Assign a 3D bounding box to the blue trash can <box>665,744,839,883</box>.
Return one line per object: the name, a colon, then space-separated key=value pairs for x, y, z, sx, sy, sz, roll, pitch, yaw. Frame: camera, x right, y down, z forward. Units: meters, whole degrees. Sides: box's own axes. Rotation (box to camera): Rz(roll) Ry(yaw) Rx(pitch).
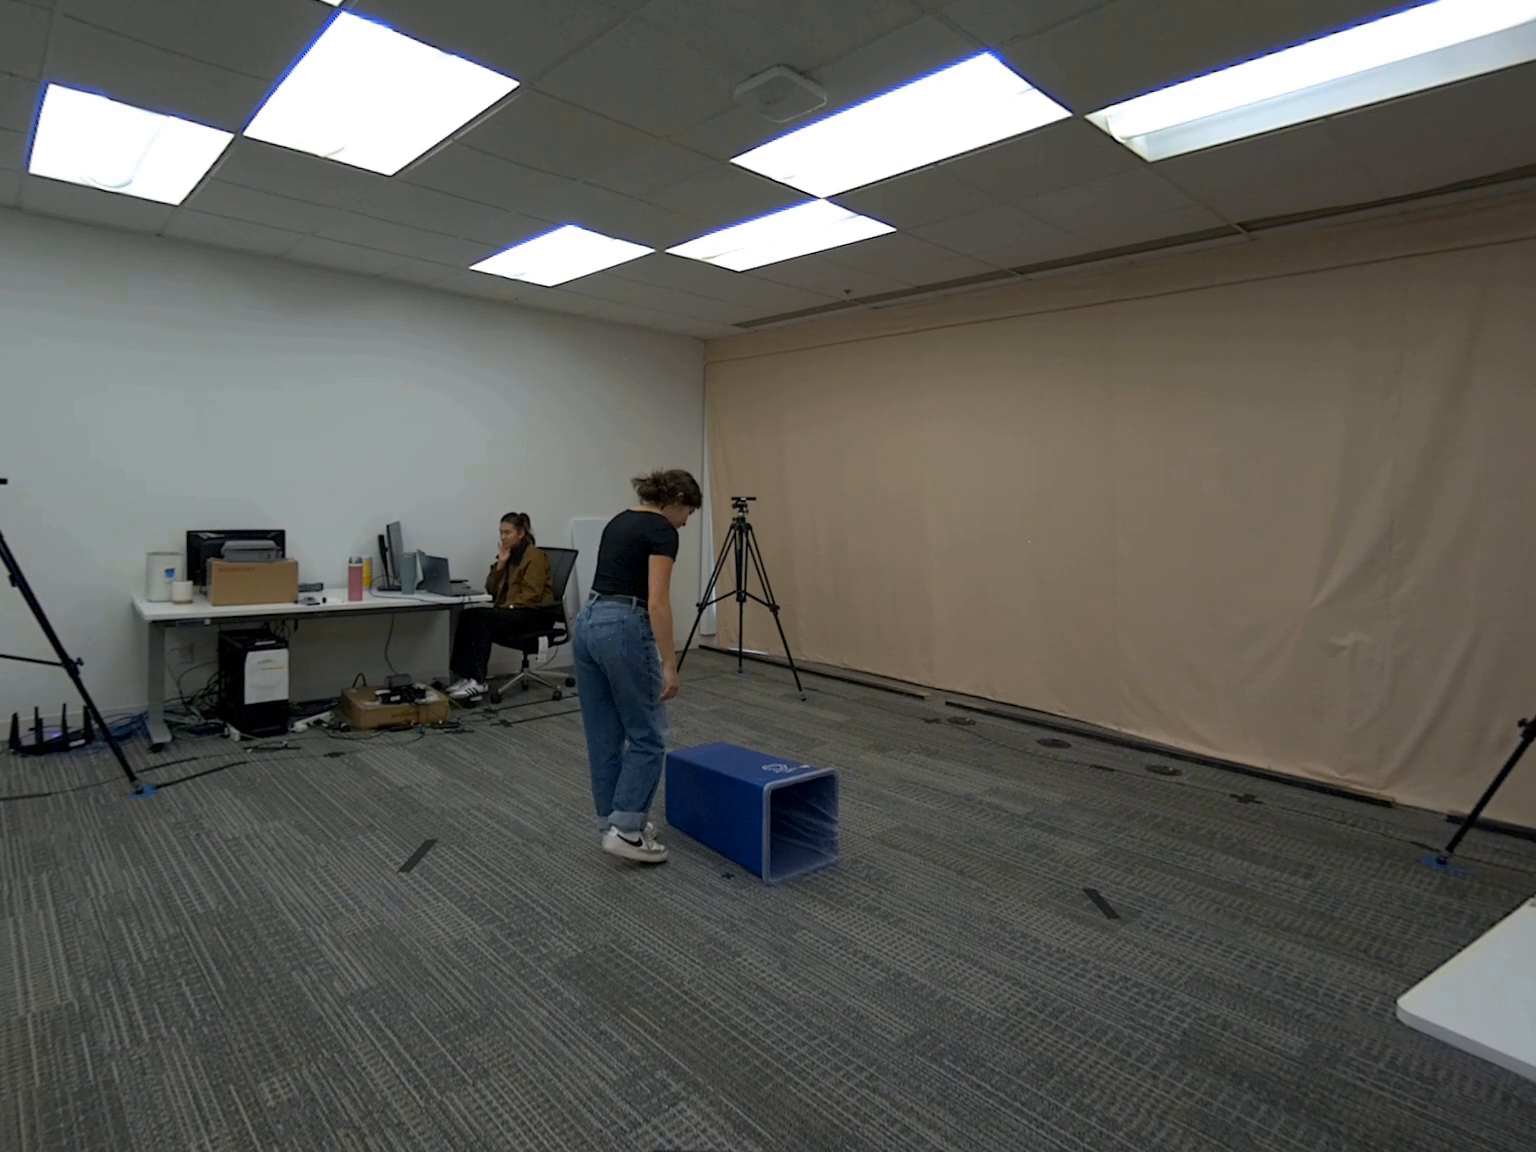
blue trash can: x=-0.106 y=0.915 z=3.396 sx=0.366 sy=0.377 sz=0.730 roll=-3 pitch=3 yaw=-40
